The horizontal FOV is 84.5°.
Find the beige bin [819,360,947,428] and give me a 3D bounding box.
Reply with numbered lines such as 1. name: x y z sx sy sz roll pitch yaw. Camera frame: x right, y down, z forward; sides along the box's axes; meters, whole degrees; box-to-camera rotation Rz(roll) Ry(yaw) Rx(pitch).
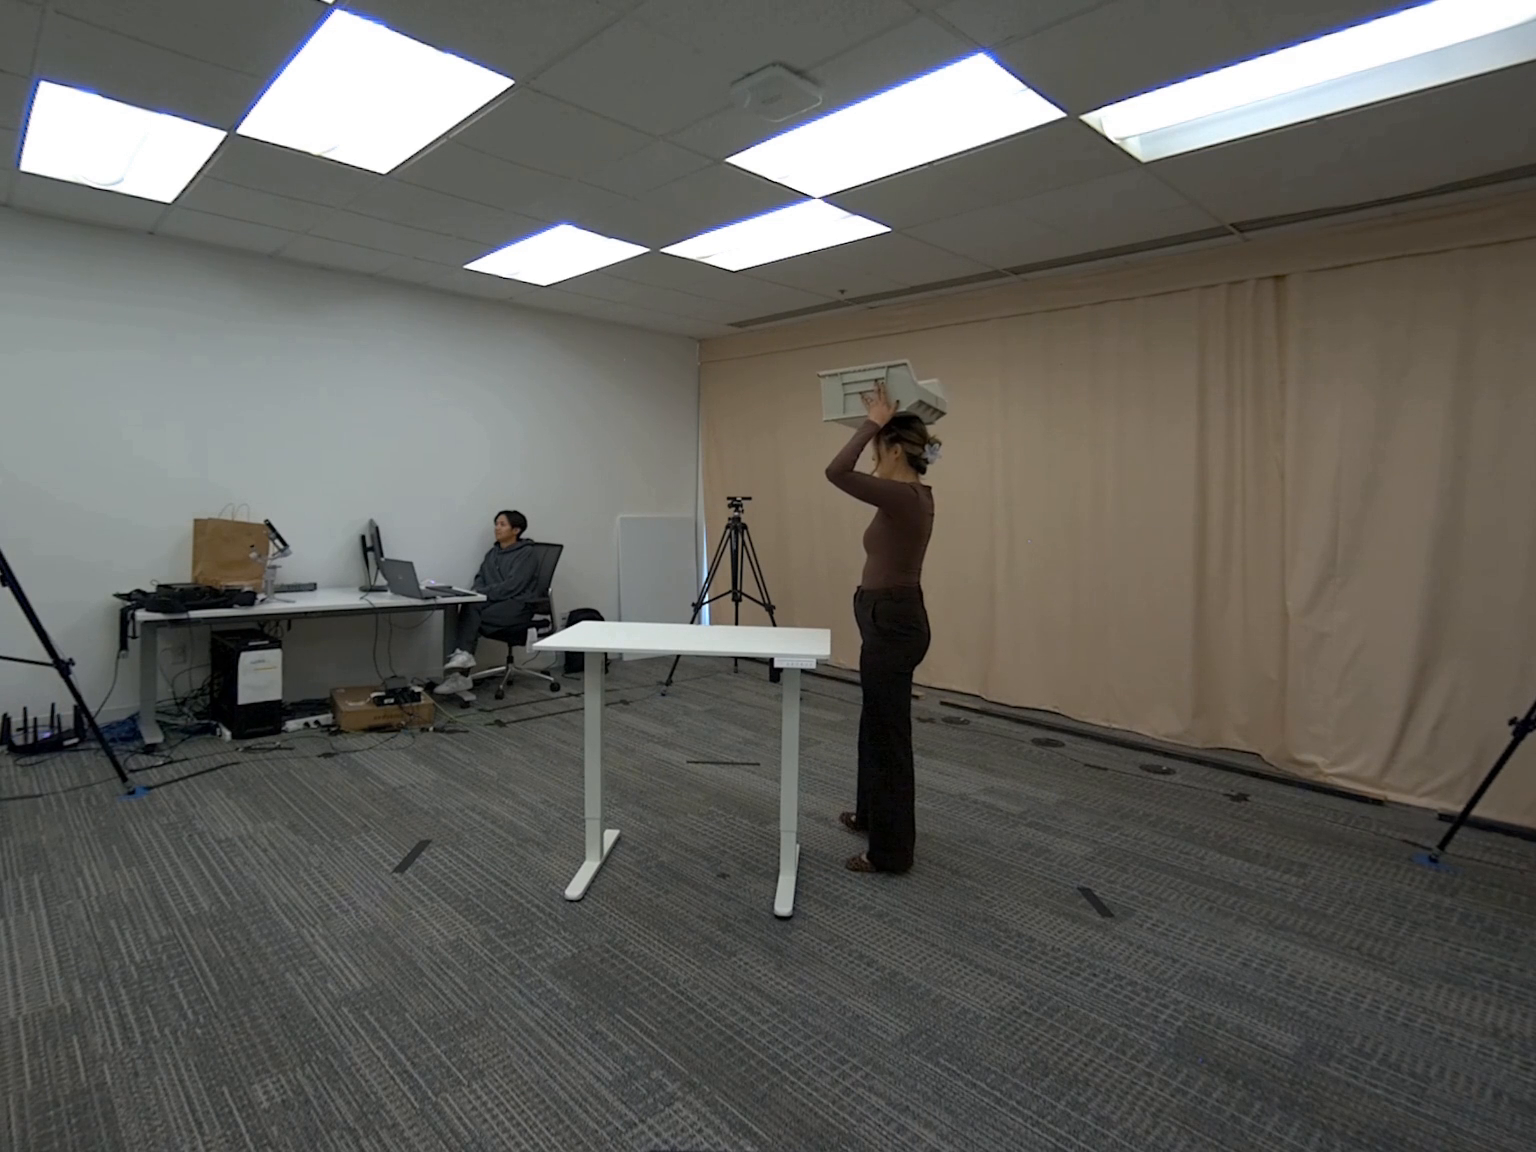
1. beige bin: 0.442 -0.675 3.194 0.384 0.189 0.415 -3 2 26
